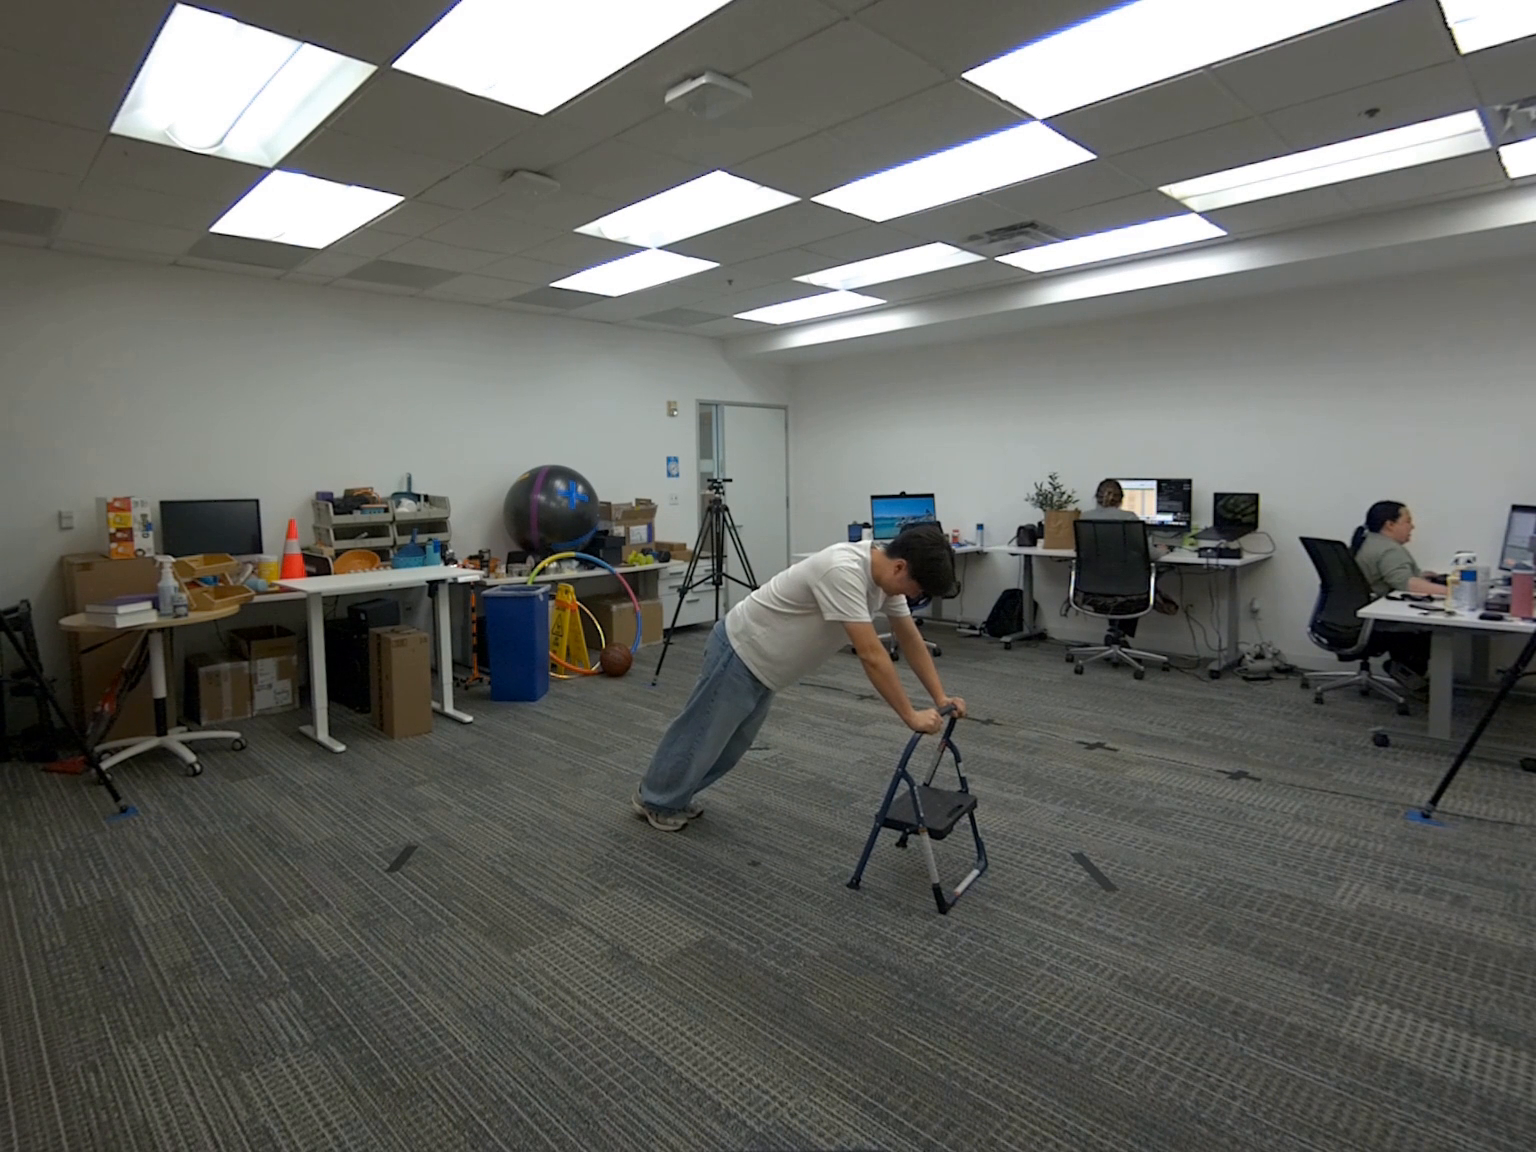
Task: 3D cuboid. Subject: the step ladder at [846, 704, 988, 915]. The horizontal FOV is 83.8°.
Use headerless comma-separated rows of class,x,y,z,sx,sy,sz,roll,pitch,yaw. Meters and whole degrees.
step ladder,0.531,0.748,2.957,0.359,0.604,0.420,3,6,33
